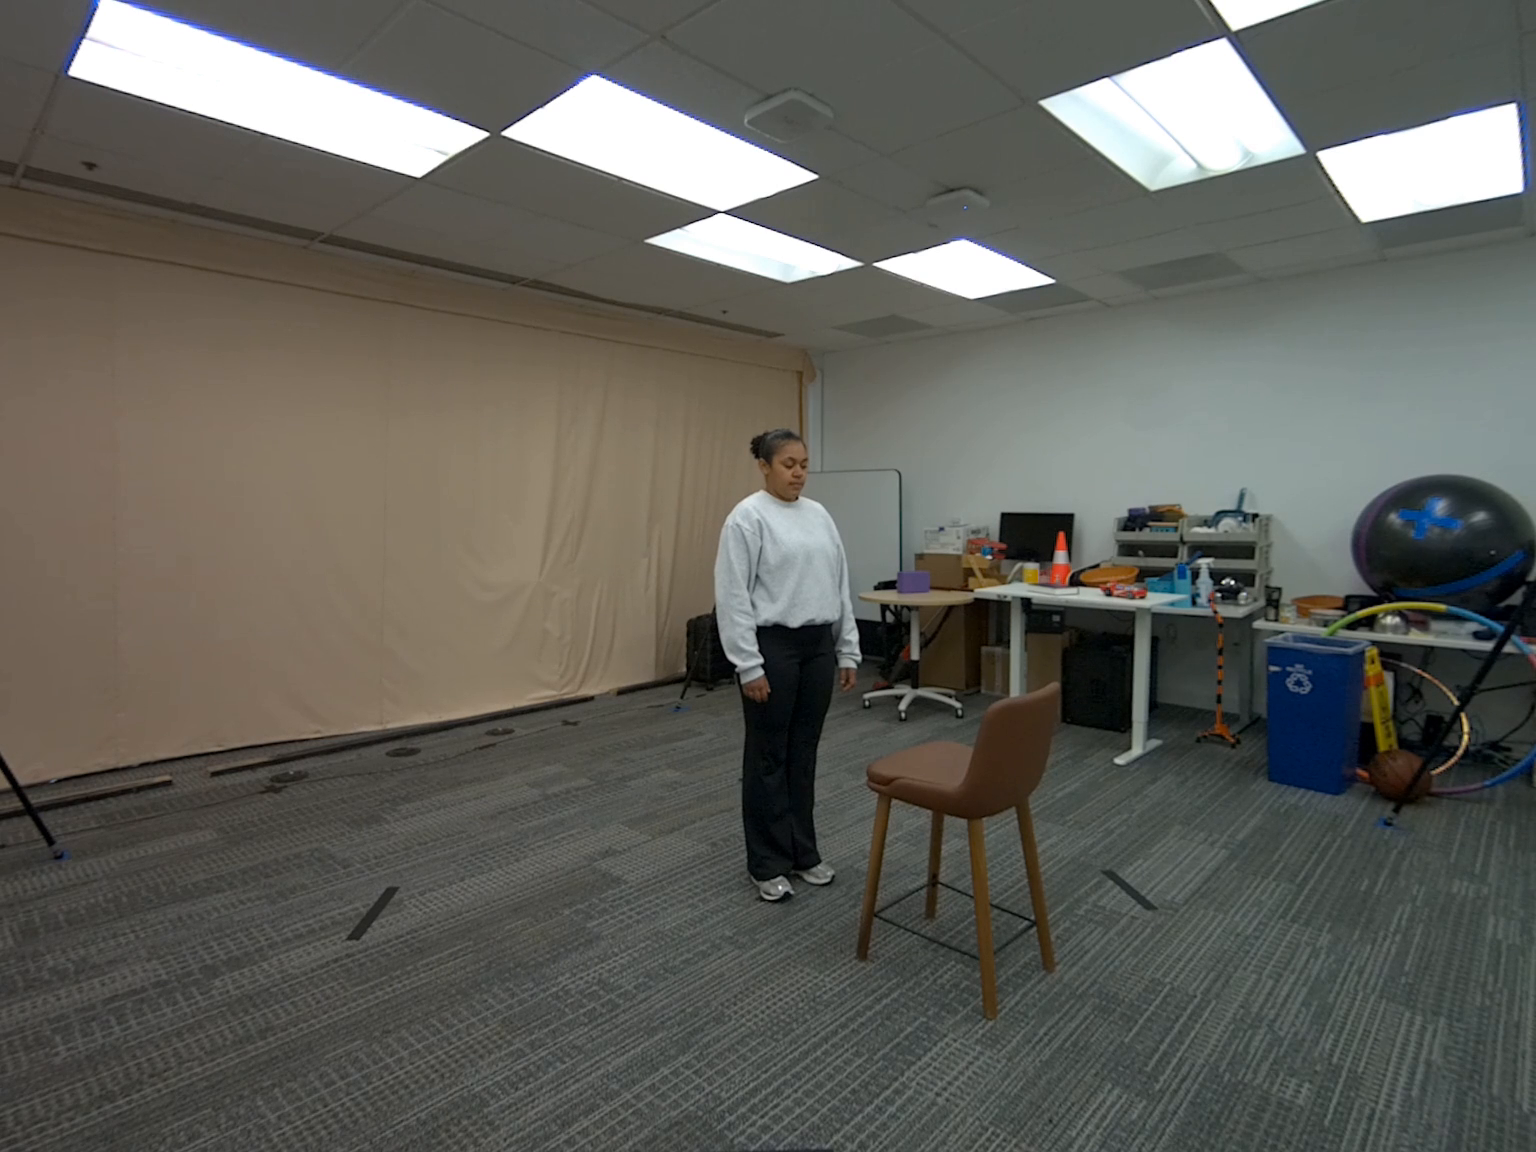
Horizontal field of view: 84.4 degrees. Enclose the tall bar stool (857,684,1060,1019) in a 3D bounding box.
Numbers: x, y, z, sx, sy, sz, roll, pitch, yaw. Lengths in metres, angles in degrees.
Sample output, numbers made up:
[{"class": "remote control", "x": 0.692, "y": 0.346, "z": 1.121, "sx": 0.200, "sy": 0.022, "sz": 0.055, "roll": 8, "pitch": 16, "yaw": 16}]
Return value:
[{"class": "tall bar stool", "x": 0.582, "y": 0.742, "z": 2.530, "sx": 0.442, "sy": 0.887, "sz": 0.484, "roll": -4, "pitch": 8, "yaw": -45}]
